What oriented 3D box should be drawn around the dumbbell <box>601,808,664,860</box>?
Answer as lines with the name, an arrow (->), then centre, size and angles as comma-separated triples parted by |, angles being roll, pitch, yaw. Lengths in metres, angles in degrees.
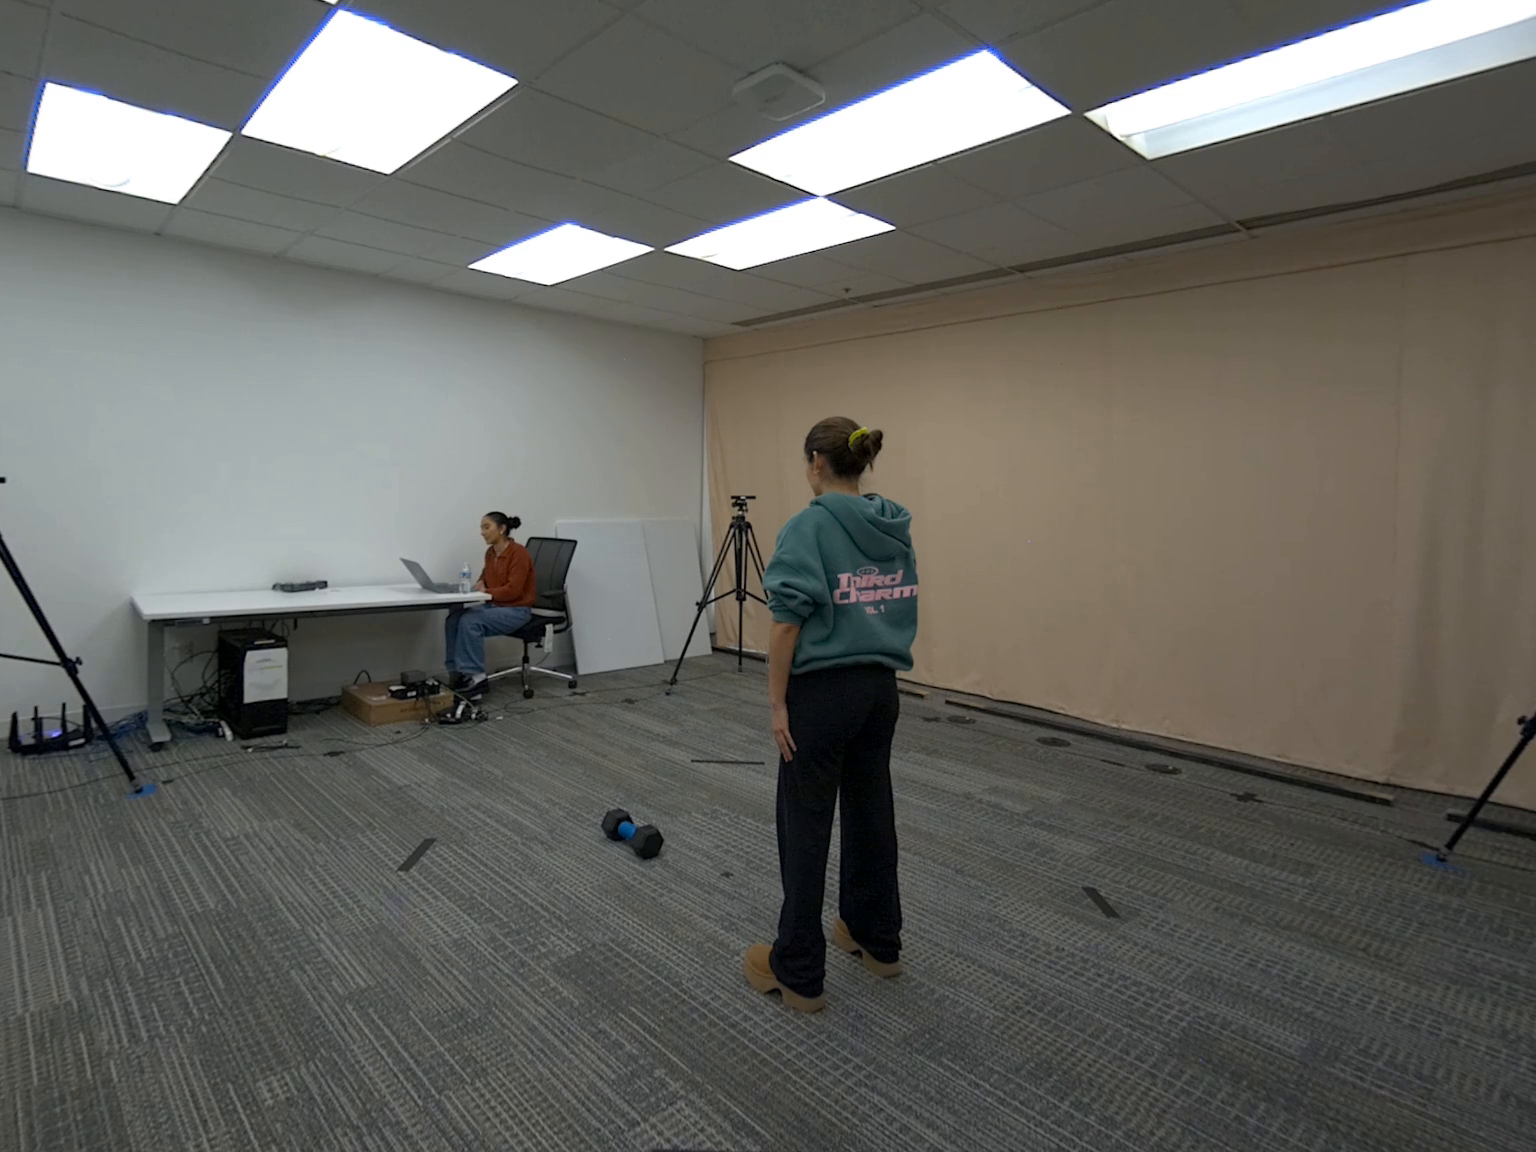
dumbbell -> -0.547, 1.019, 3.334 | 0.120, 0.108, 0.301 | -2, 6, -41
